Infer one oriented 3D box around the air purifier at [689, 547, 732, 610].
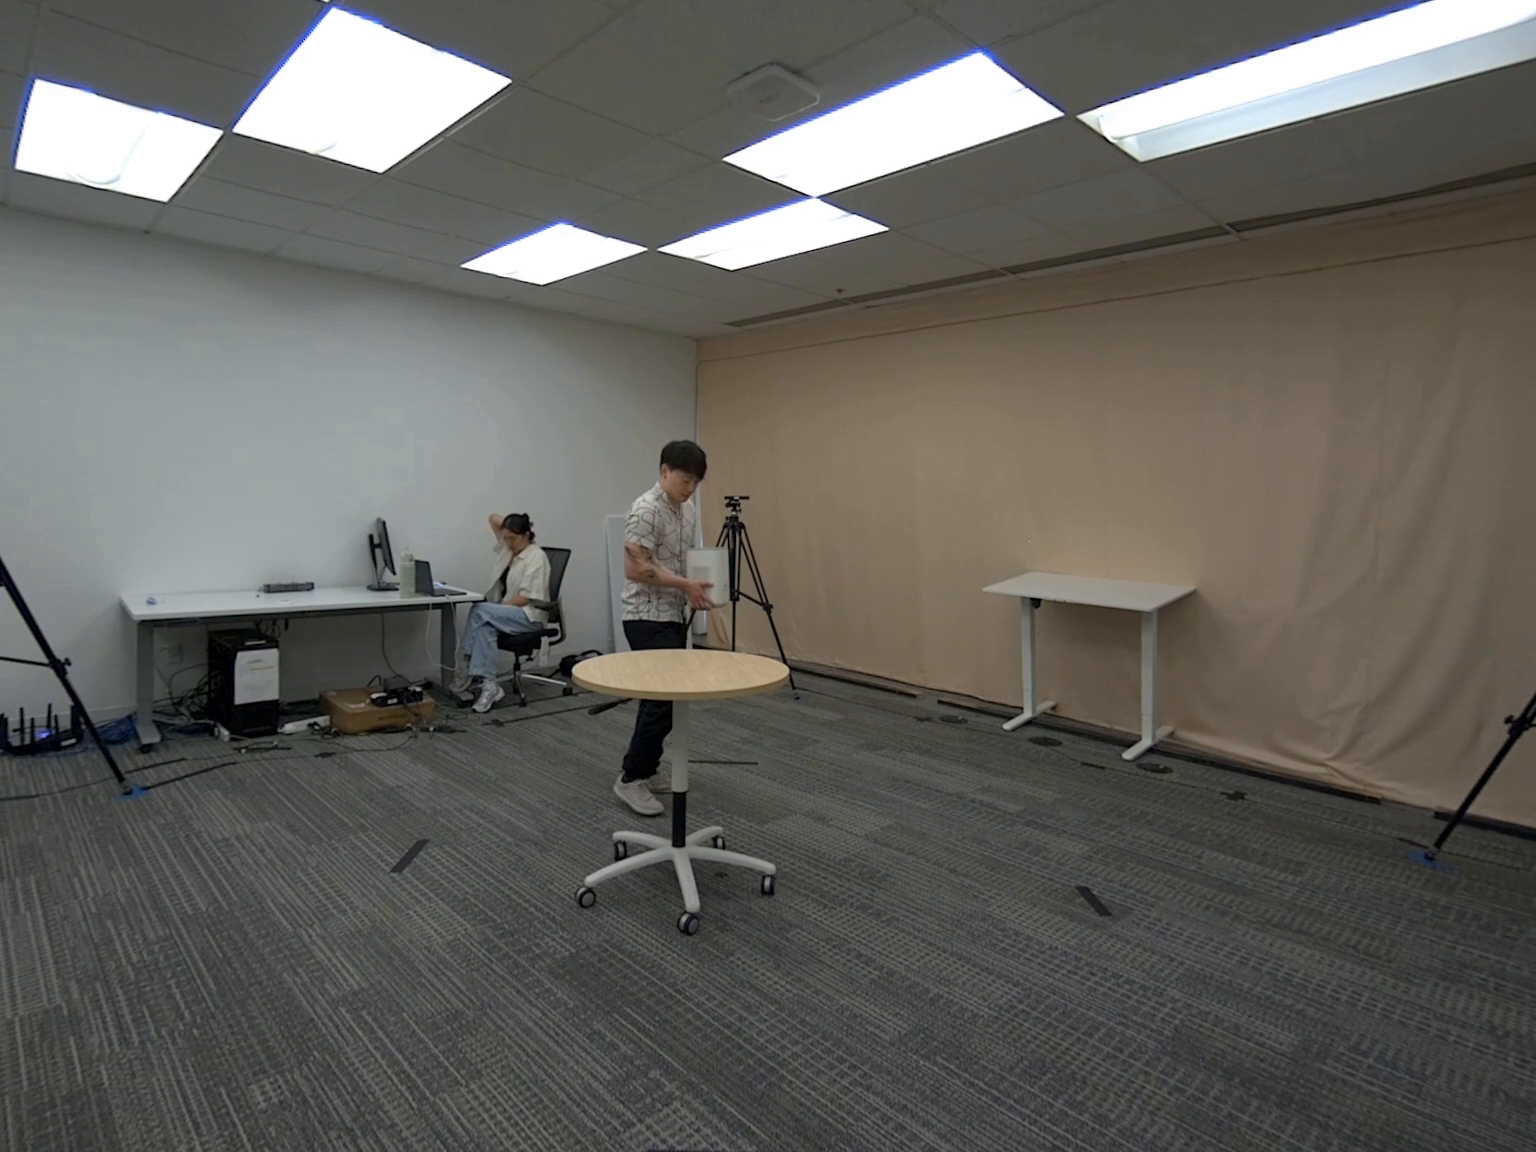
[{"bbox_3d":[-0.281,0.006,3.801,0.174,0.265,0.168,-2,2,20],"label":"air purifier"}]
